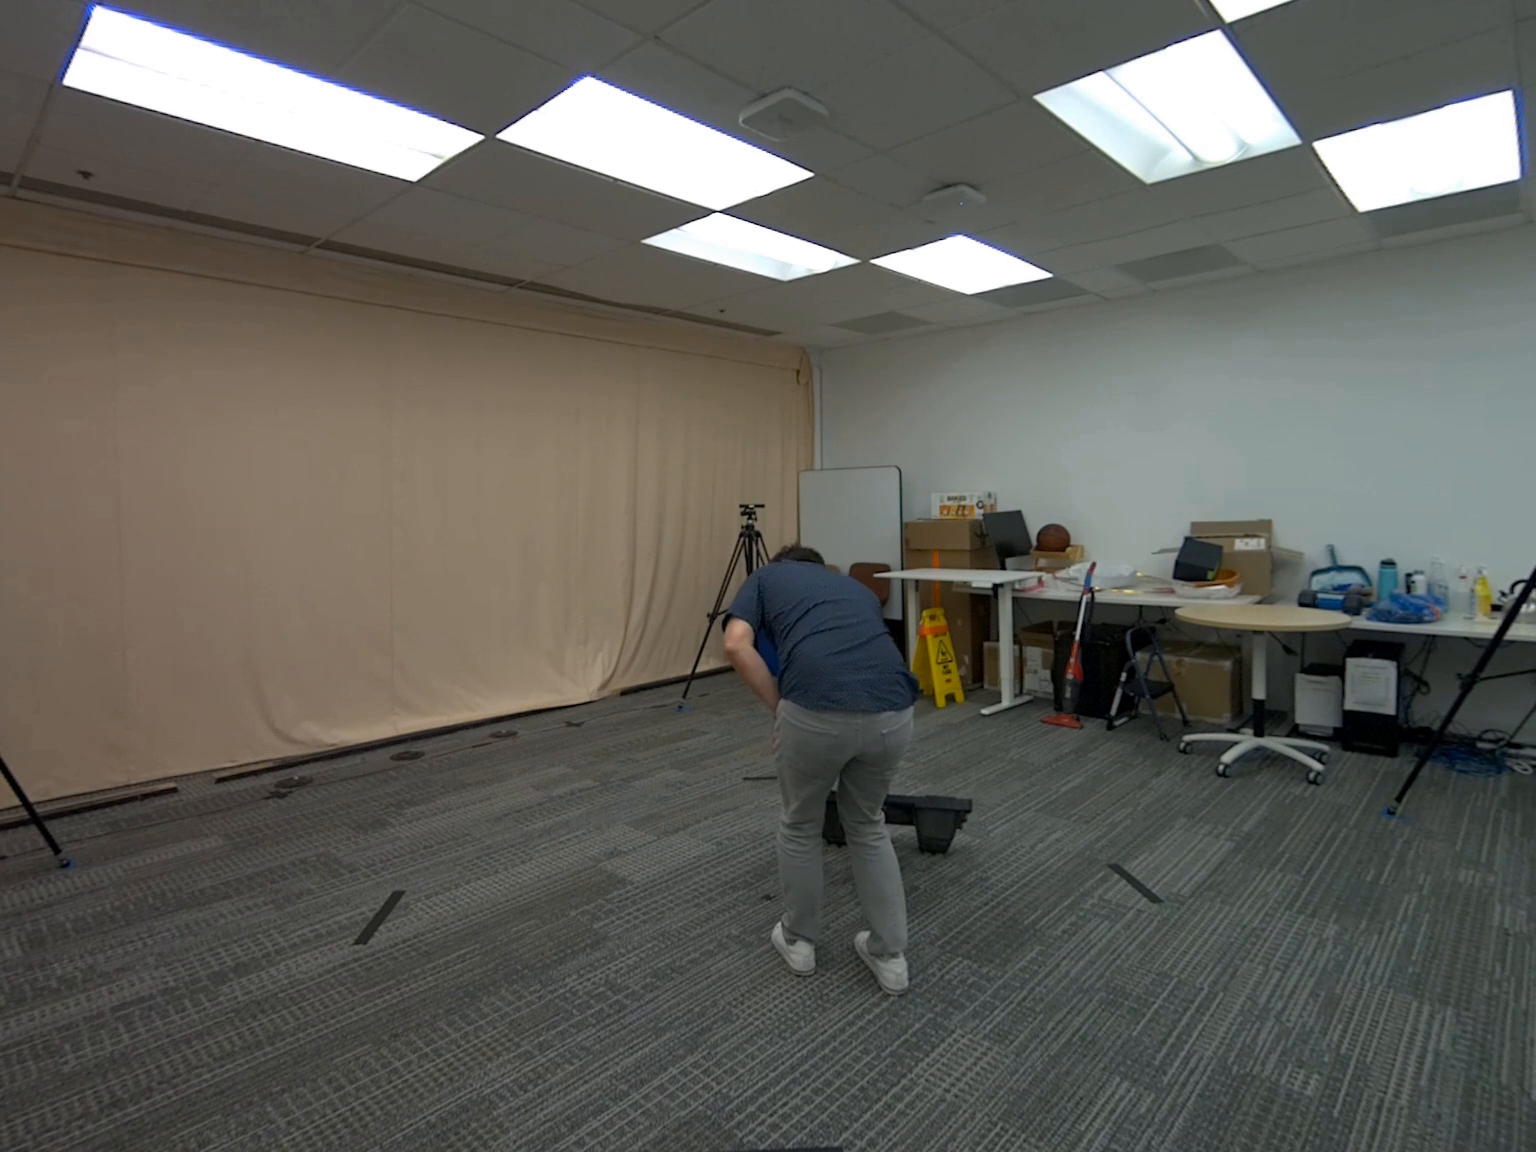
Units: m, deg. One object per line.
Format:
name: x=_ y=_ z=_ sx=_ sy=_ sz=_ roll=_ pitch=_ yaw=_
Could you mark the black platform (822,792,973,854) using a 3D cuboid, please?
black platform: x=0.427 y=0.907 z=3.086 sx=0.614 sy=0.145 sz=0.786 roll=2 pitch=-20 yaw=12
